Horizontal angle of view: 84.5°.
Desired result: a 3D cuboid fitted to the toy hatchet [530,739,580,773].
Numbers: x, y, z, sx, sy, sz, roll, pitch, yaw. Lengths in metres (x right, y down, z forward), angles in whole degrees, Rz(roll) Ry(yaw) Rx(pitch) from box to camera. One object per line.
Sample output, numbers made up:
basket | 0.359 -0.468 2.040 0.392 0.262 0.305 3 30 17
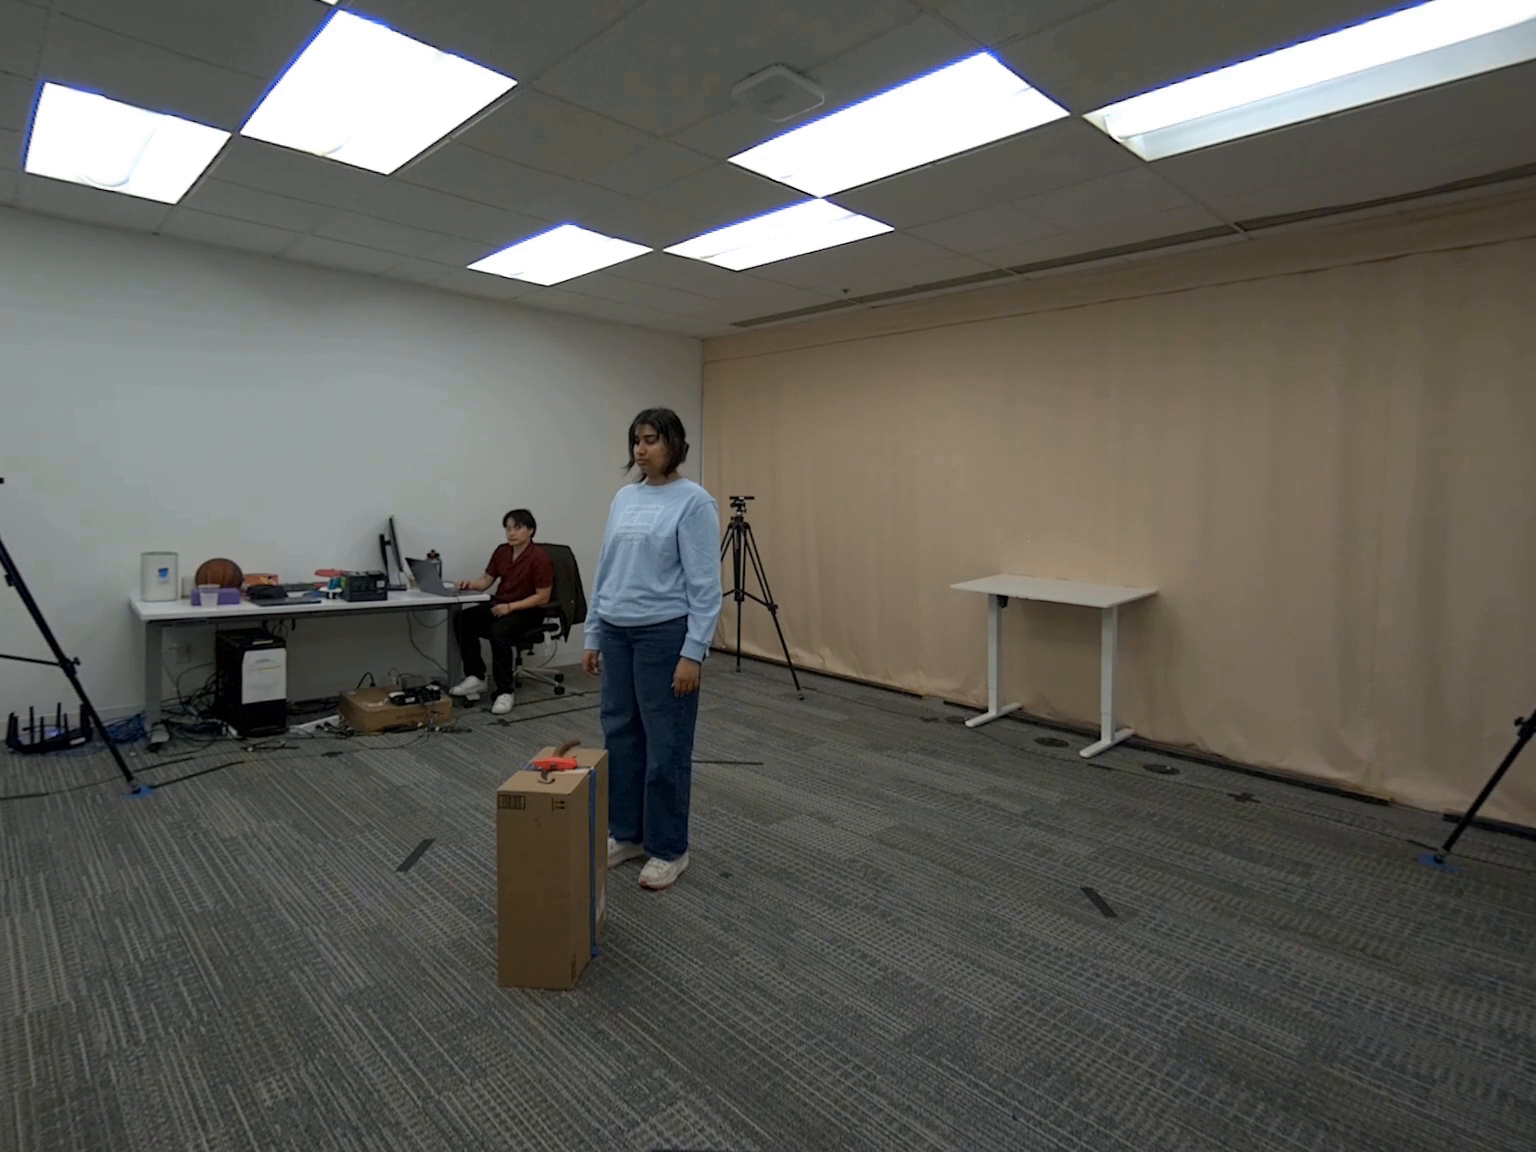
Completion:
toy hatchet | -0.630 0.561 2.635 0.132 0.029 0.267 2 5 14
